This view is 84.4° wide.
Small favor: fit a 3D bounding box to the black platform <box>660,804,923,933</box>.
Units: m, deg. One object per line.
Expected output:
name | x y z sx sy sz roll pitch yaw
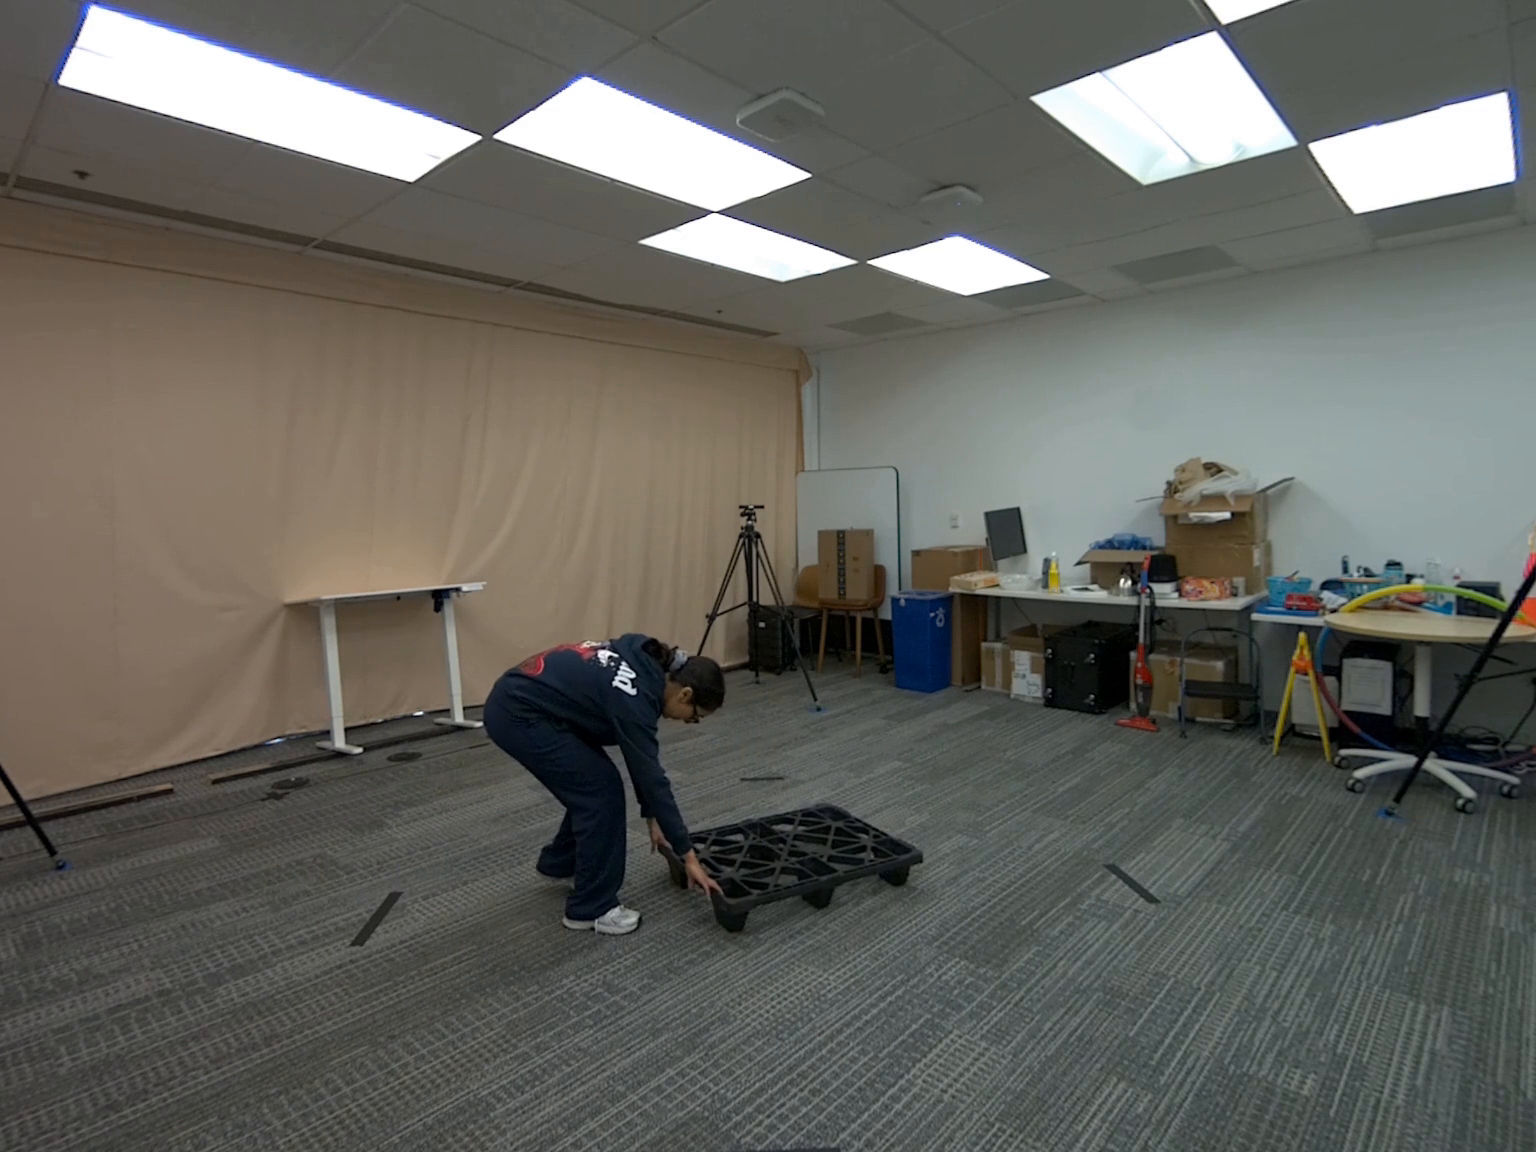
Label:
black platform | 0.069 1.062 3.105 0.785 0.143 0.622 -3 5 -29
